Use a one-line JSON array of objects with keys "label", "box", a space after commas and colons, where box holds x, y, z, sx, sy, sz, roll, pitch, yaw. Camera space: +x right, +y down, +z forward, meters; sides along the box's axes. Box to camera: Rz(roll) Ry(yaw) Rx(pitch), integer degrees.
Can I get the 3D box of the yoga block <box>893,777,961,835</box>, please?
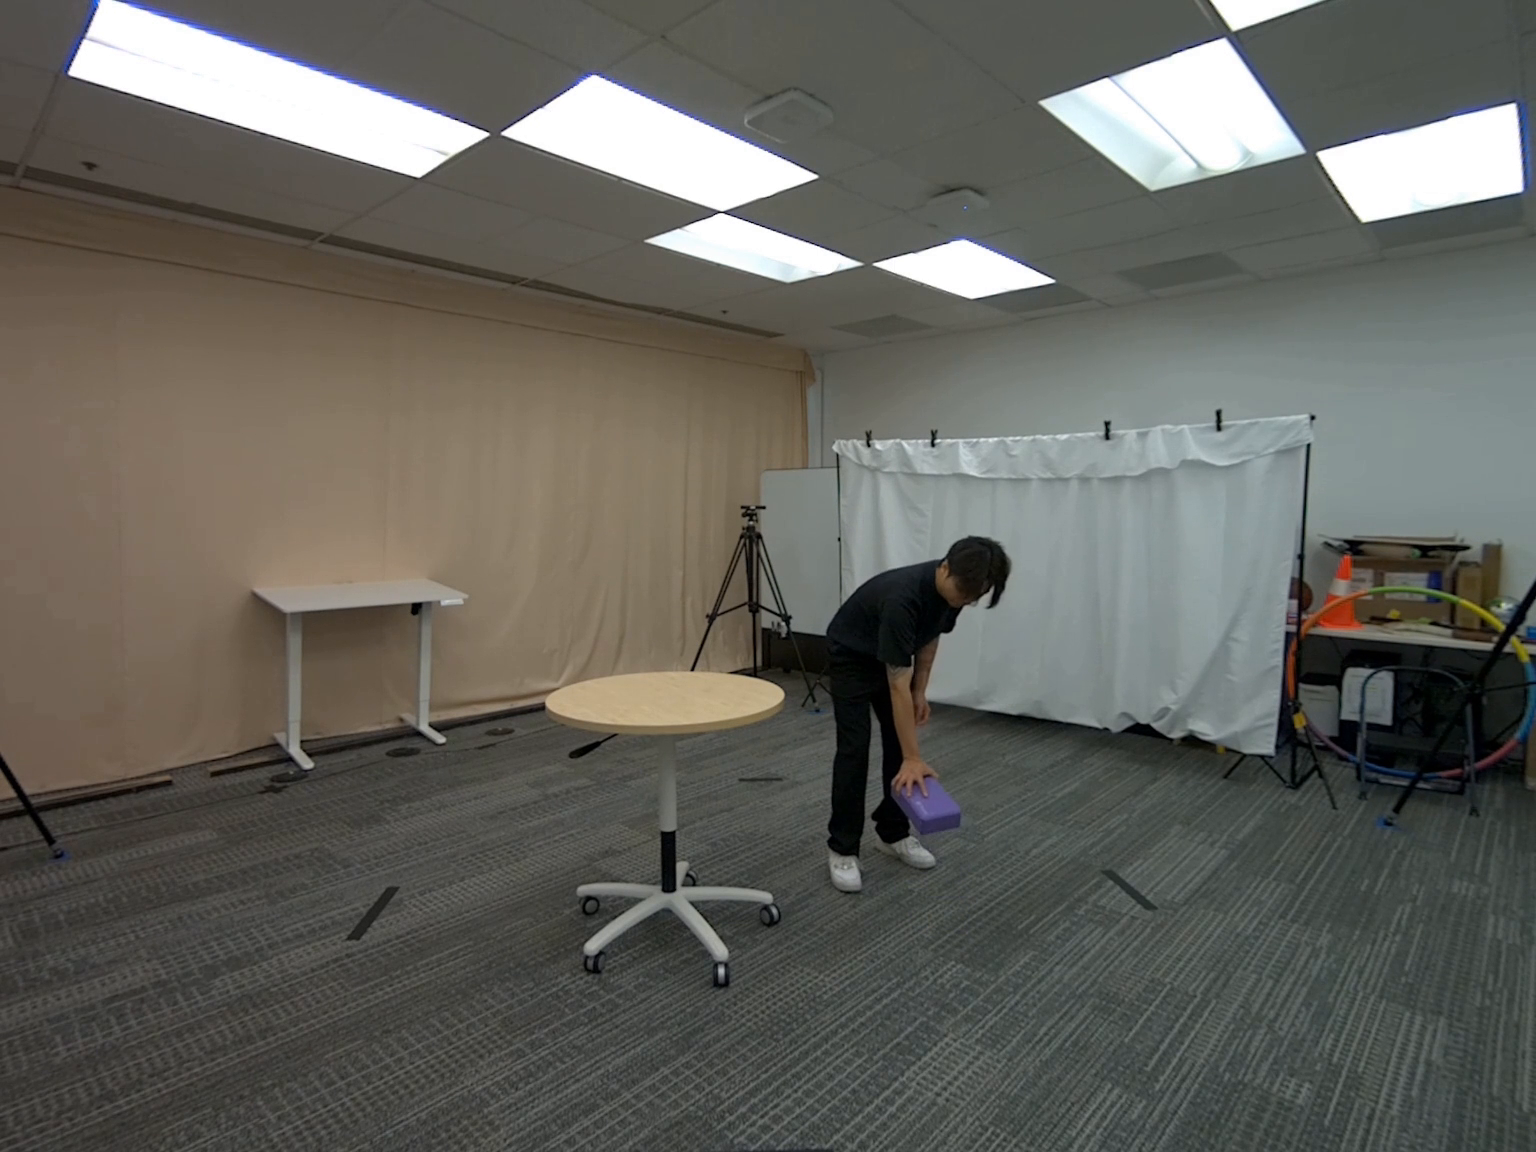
[{"label": "yoga block", "box": [0.535, 0.770, 2.862, 0.148, 0.075, 0.233, -1, 19, -7]}]
